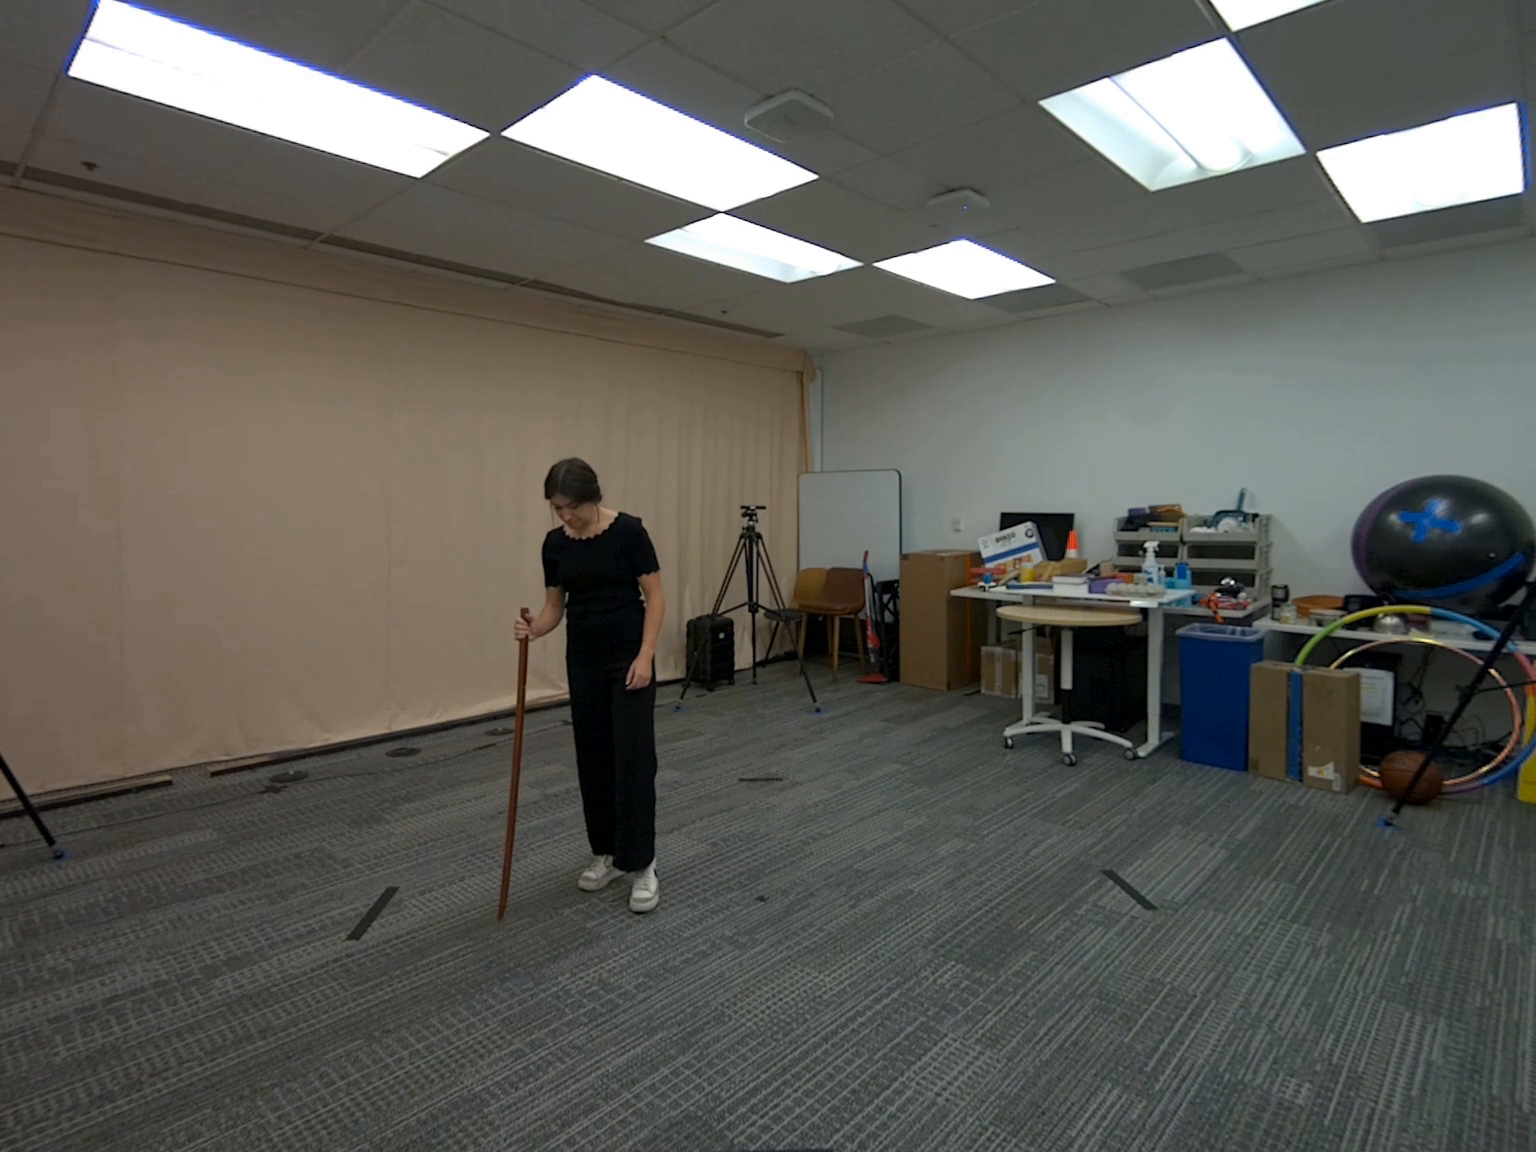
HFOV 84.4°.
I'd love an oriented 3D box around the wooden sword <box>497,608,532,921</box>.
[{"bbox_3d":[-0.851,0.641,2.875,0.023,1.031,0.052,8,-12,-33],"label":"wooden sword"}]
